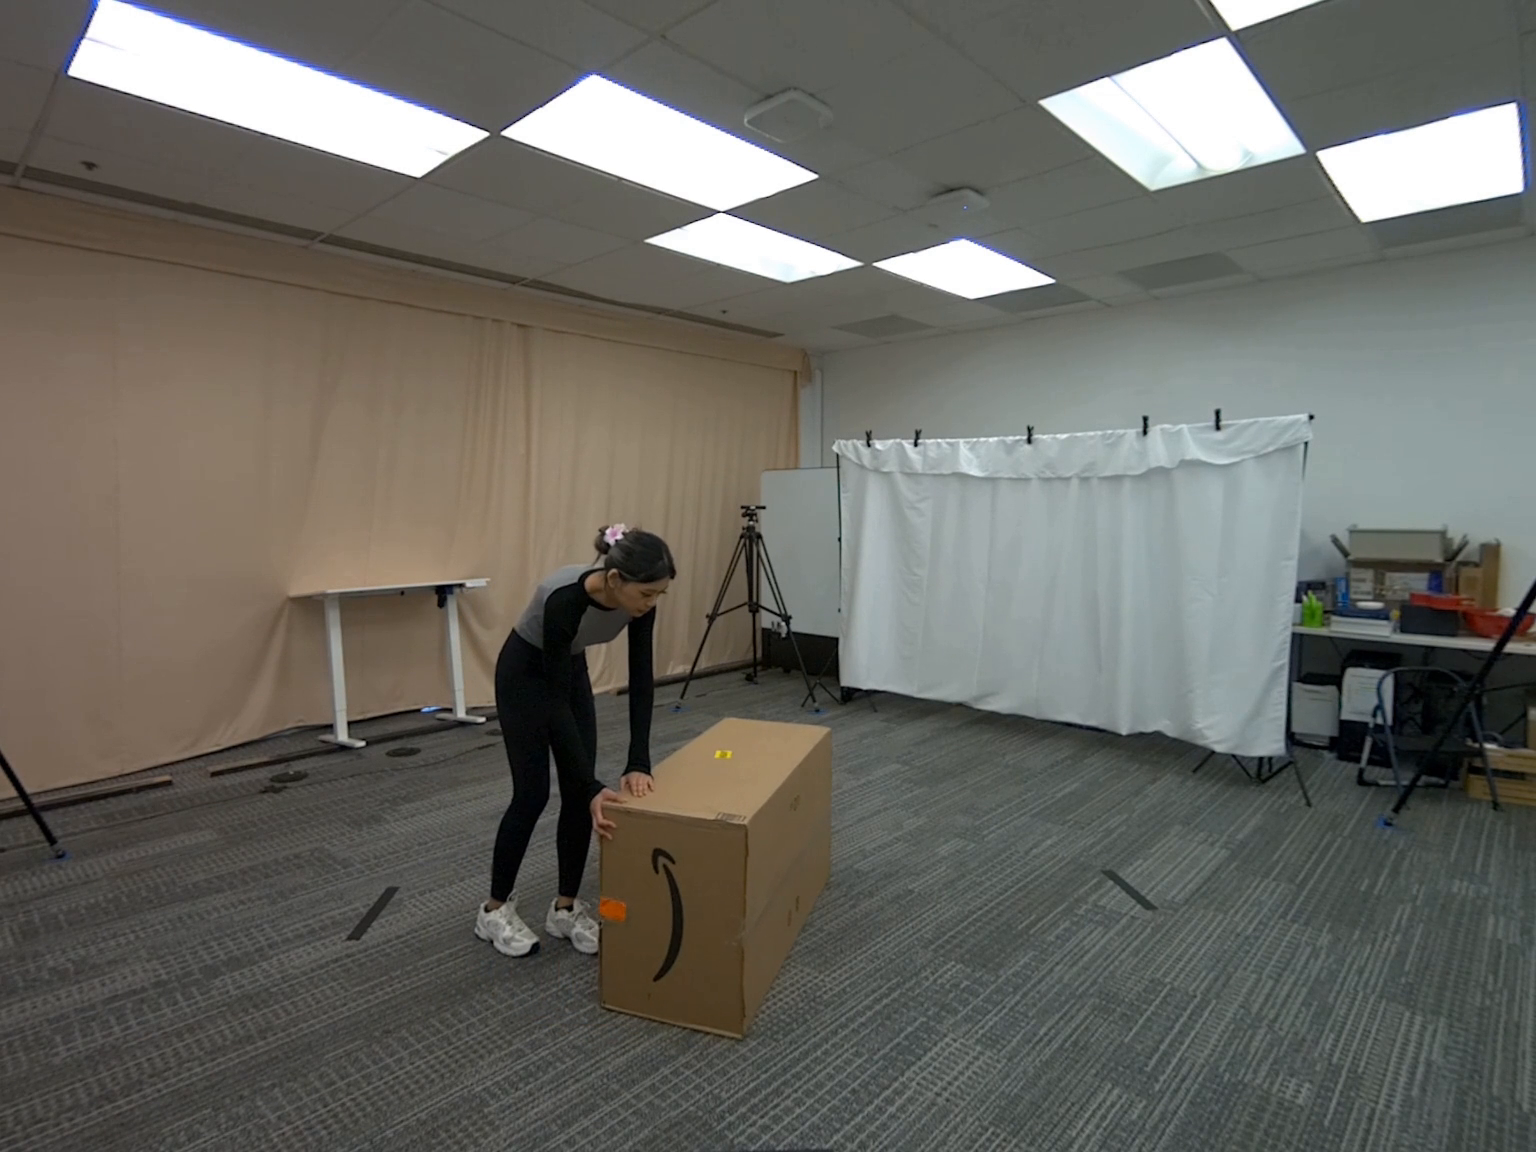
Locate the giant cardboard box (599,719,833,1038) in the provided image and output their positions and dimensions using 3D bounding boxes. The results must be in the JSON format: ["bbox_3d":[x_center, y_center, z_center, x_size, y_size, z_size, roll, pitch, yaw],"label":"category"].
[{"bbox_3d":[-0.111,0.877,2.727,0.455,0.583,1.009,0,4,17],"label":"giant cardboard box"}]
